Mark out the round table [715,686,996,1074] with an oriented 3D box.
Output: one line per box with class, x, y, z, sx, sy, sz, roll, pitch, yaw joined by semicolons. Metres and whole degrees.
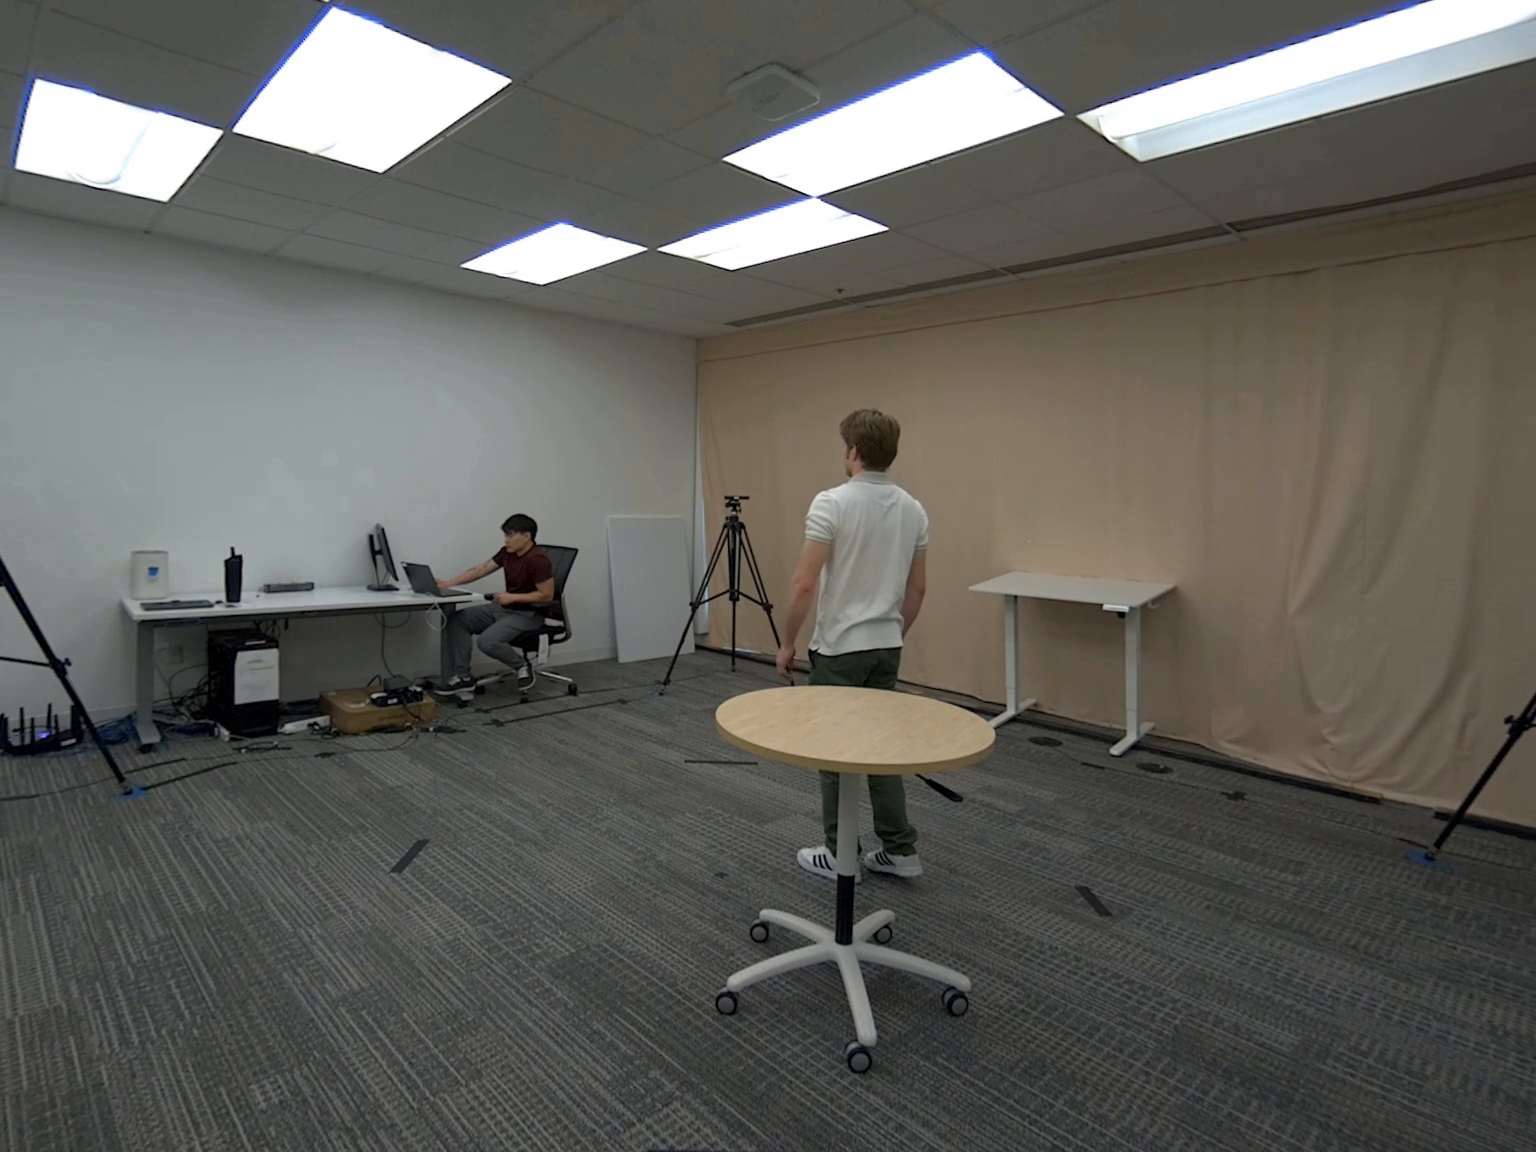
round table;0.224;0.786;2.387;0.784;0.784;0.788;2;5;-2
